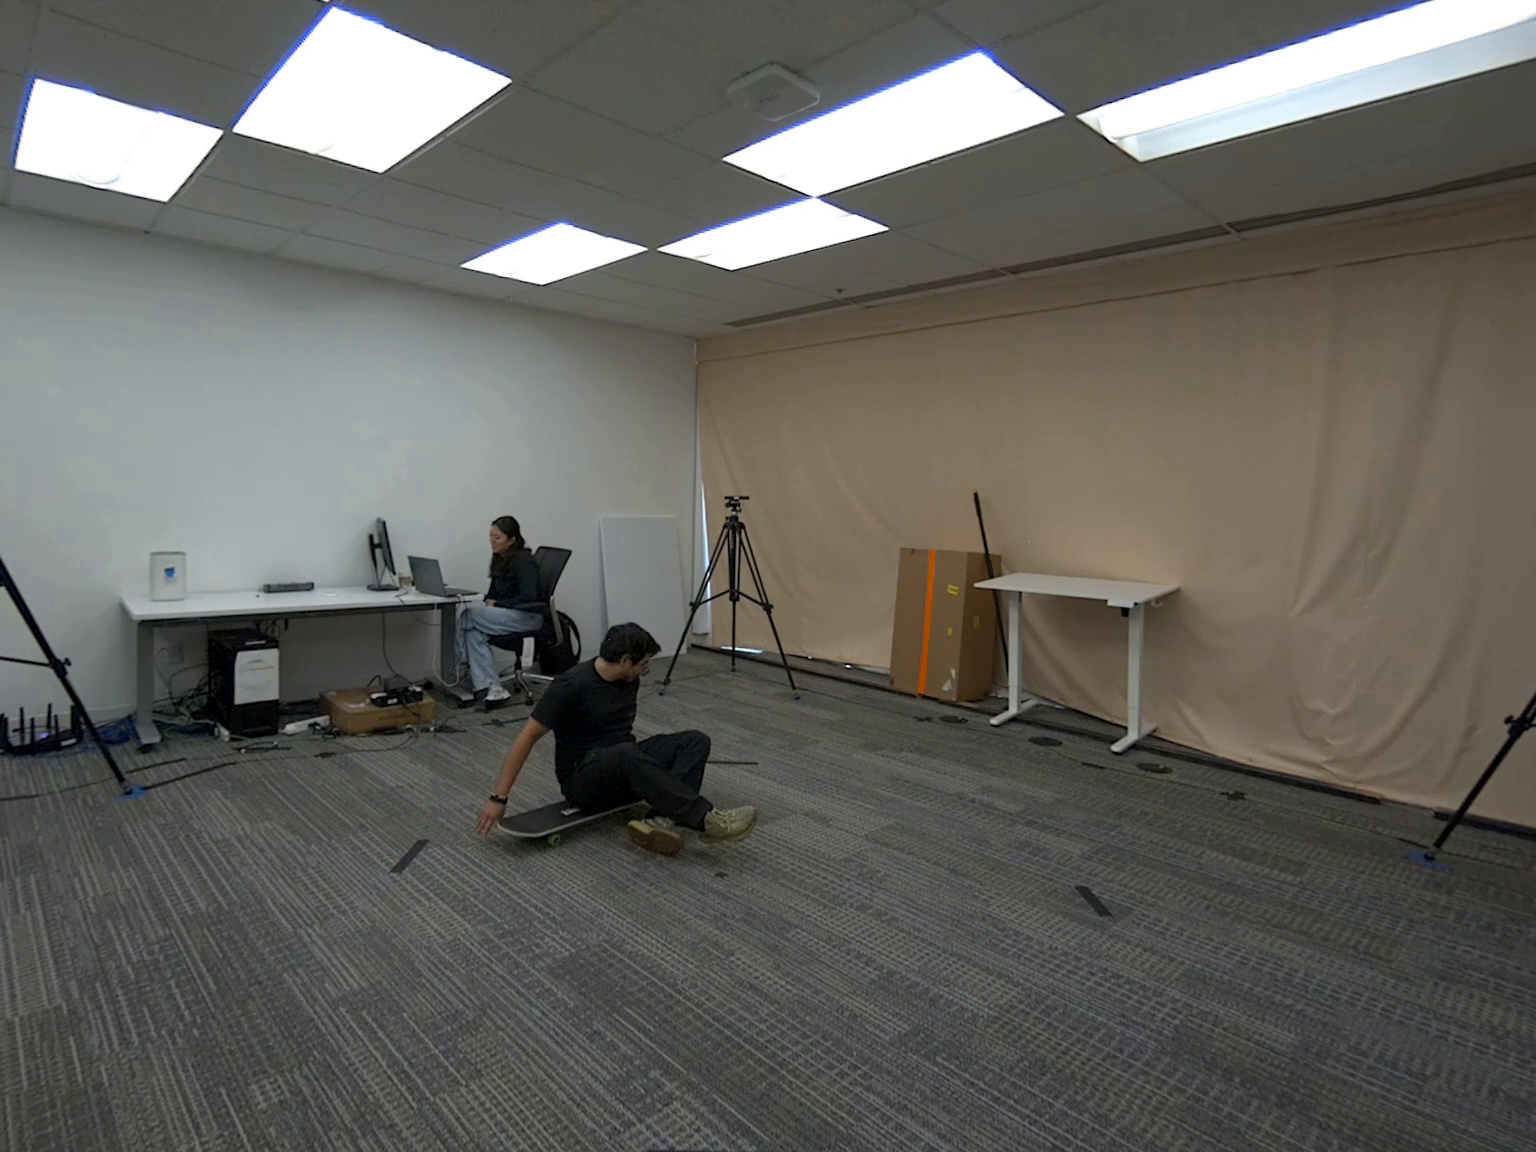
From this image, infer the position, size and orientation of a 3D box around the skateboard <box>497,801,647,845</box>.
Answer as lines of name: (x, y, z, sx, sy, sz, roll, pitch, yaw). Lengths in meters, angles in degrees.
skateboard: (-0.786, 0.996, 3.524, 0.199, 0.110, 0.767, 11, 9, 41)
